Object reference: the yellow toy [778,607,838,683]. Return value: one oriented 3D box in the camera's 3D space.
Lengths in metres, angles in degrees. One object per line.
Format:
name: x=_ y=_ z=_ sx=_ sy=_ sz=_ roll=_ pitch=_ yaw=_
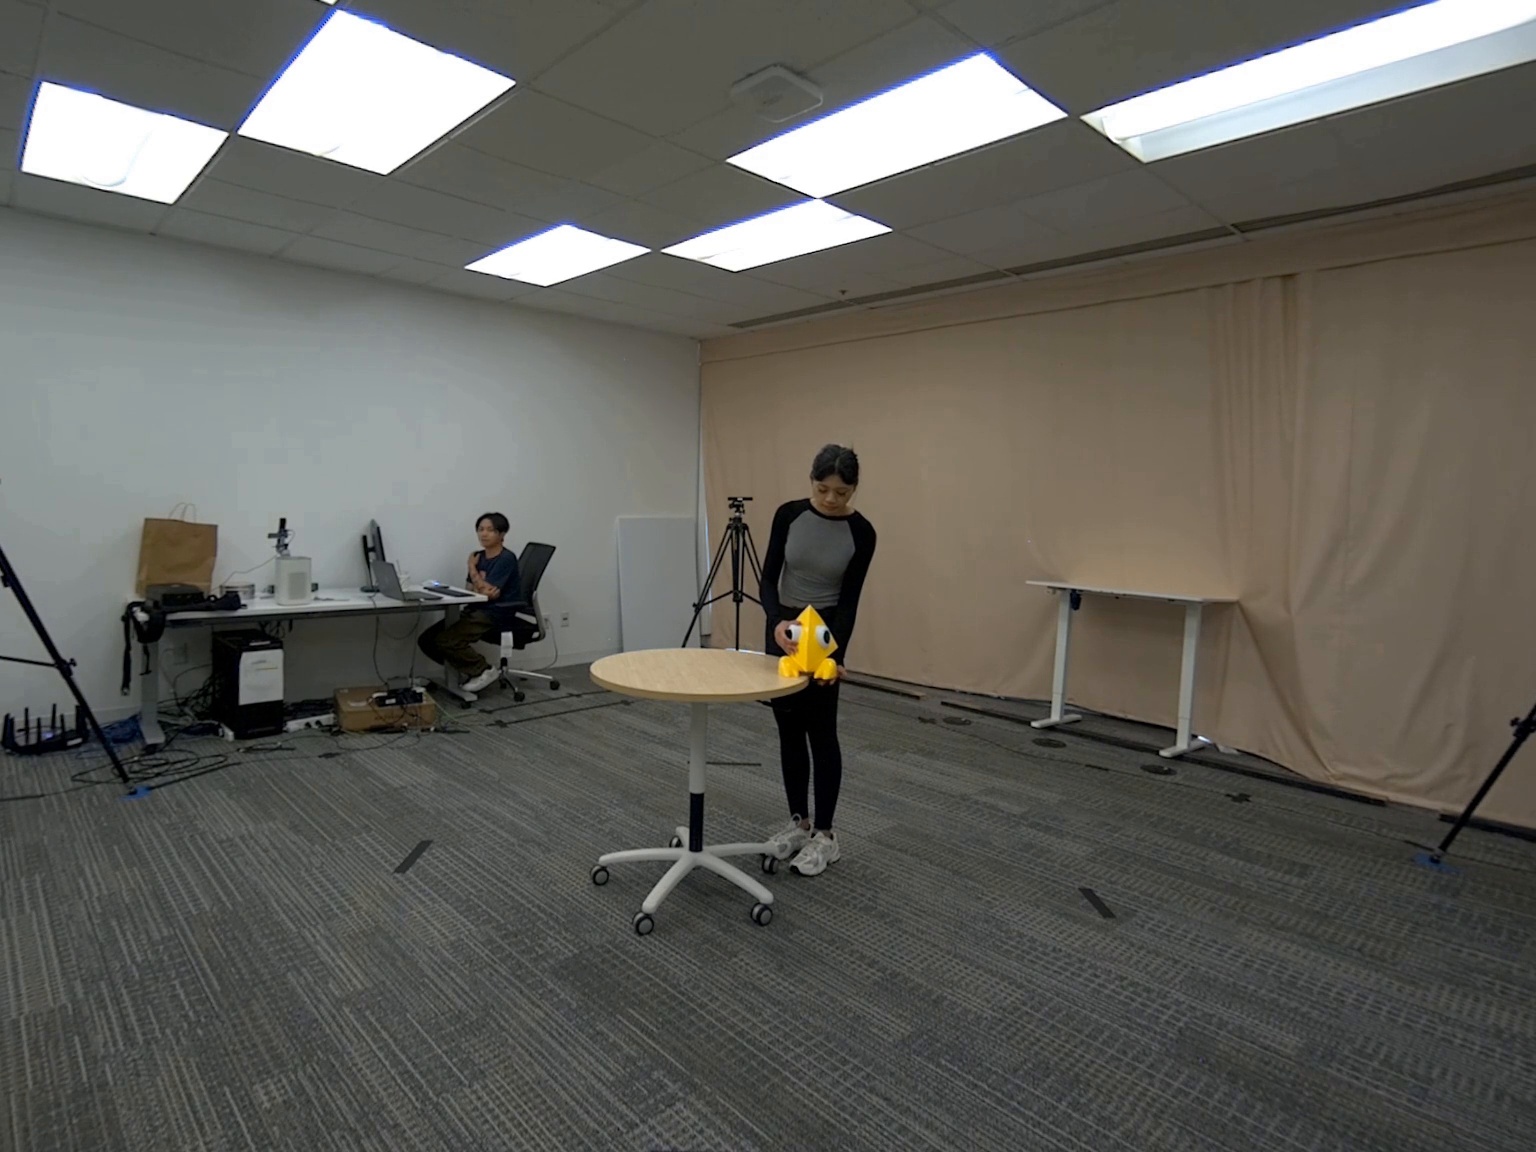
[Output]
yellow toy: x=0.126 y=0.223 z=2.924 sx=0.206 sy=0.230 sz=0.192 roll=2 pitch=4 yaw=6
